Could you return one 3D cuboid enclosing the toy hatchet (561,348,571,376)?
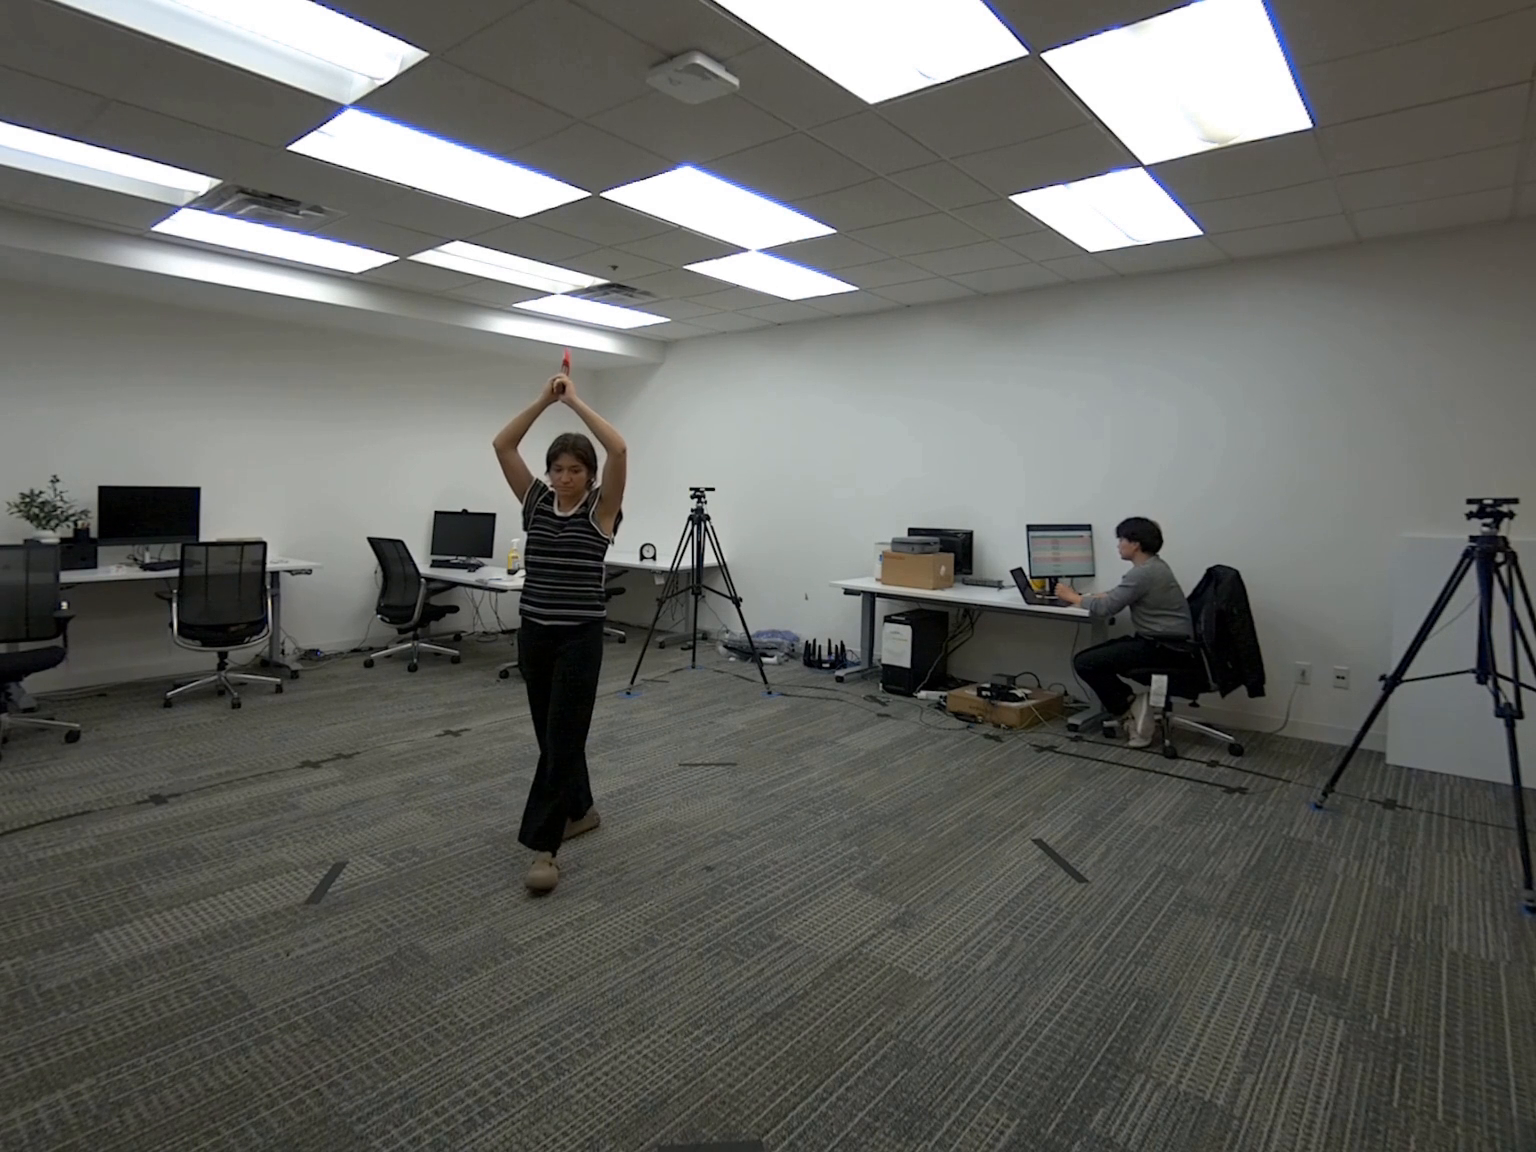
[{"bbox_3d":[-0.746,-0.756,3.078,0.029,0.129,0.278,5,21,-16],"label":"toy hatchet"}]
